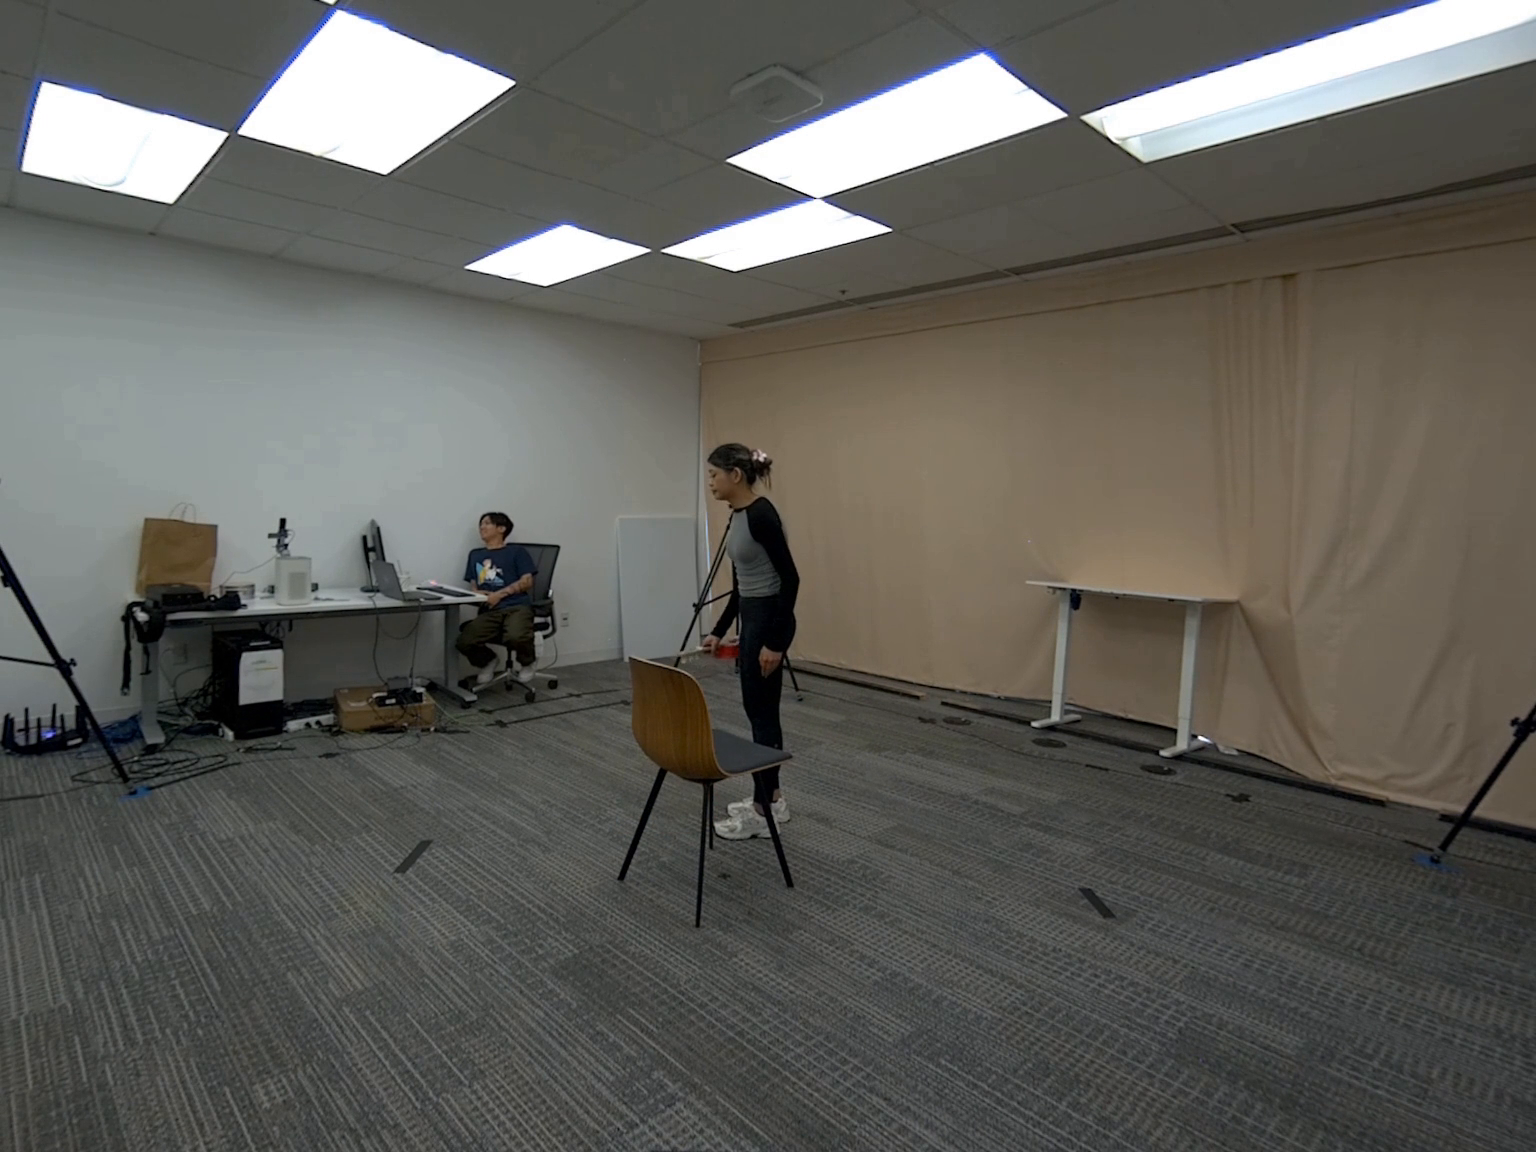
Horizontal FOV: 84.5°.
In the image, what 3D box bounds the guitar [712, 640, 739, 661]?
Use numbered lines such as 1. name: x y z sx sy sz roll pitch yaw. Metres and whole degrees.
1. guitar: -0.237 0.342 3.775 0.488 0.070 0.197 -8 6 -36
